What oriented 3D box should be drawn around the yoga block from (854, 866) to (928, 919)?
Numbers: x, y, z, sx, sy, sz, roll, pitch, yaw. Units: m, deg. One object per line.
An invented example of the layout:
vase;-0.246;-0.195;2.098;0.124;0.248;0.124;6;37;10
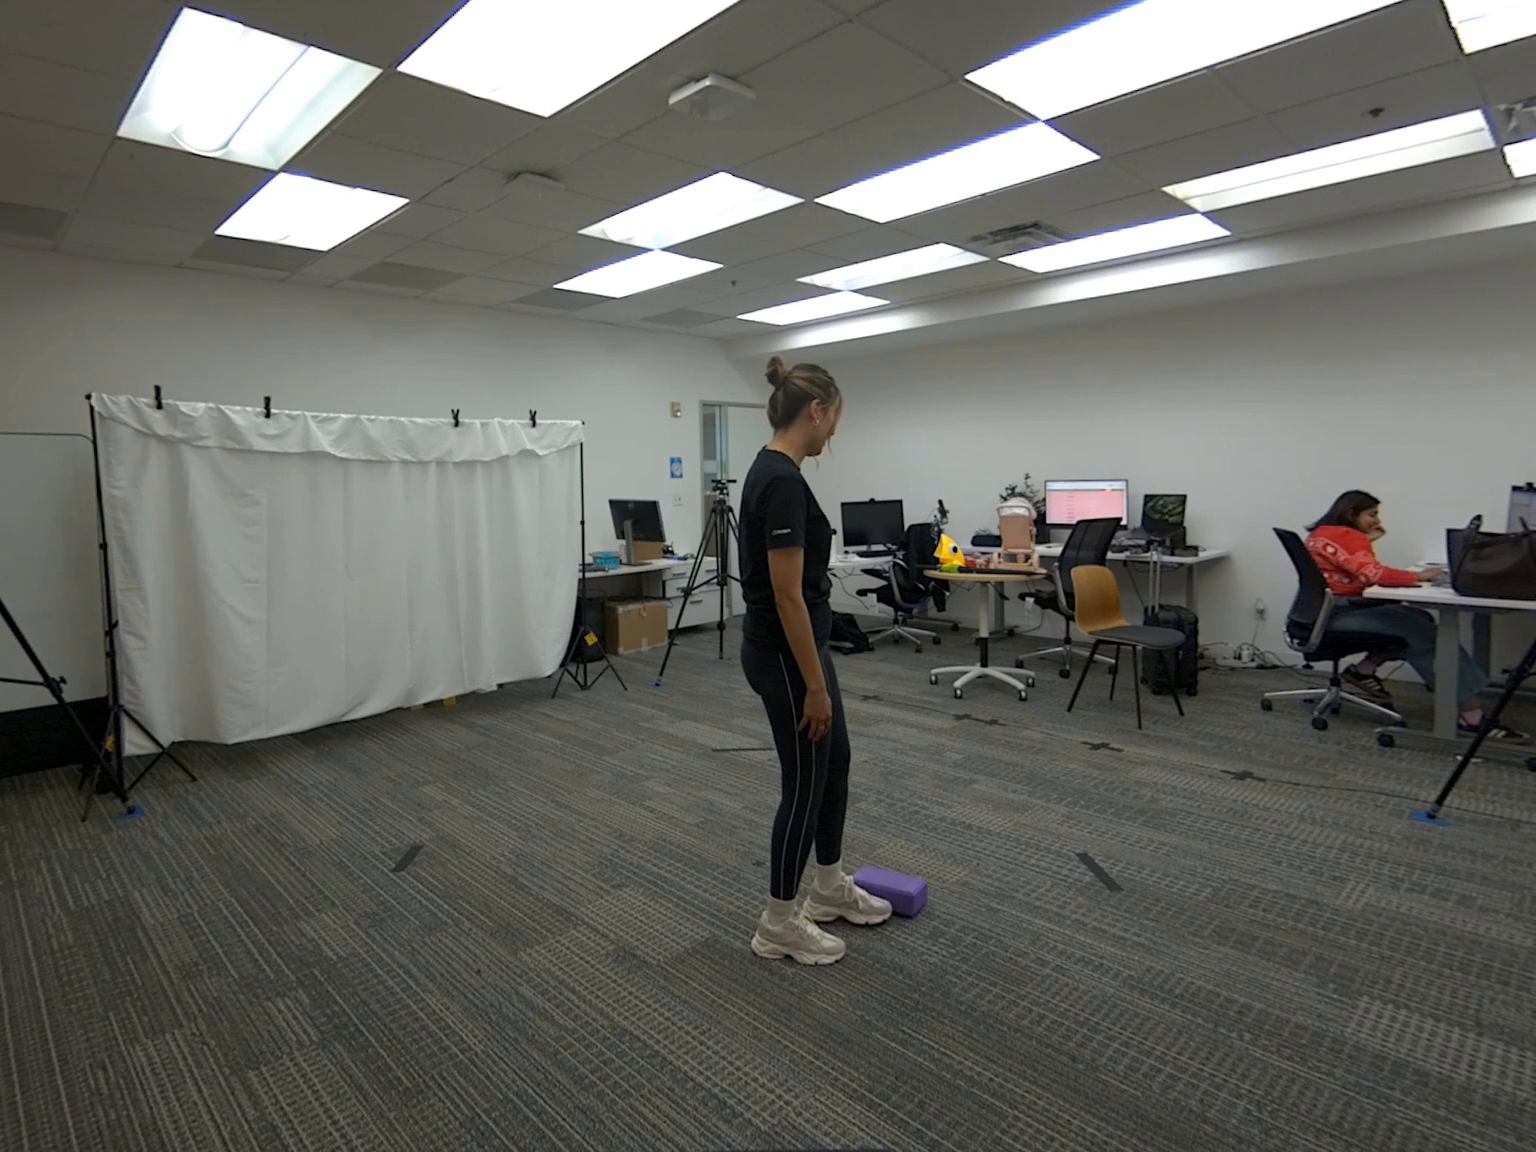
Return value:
yoga block;0.396;1.028;2.801;0.235;0.076;0.145;1;1;31
